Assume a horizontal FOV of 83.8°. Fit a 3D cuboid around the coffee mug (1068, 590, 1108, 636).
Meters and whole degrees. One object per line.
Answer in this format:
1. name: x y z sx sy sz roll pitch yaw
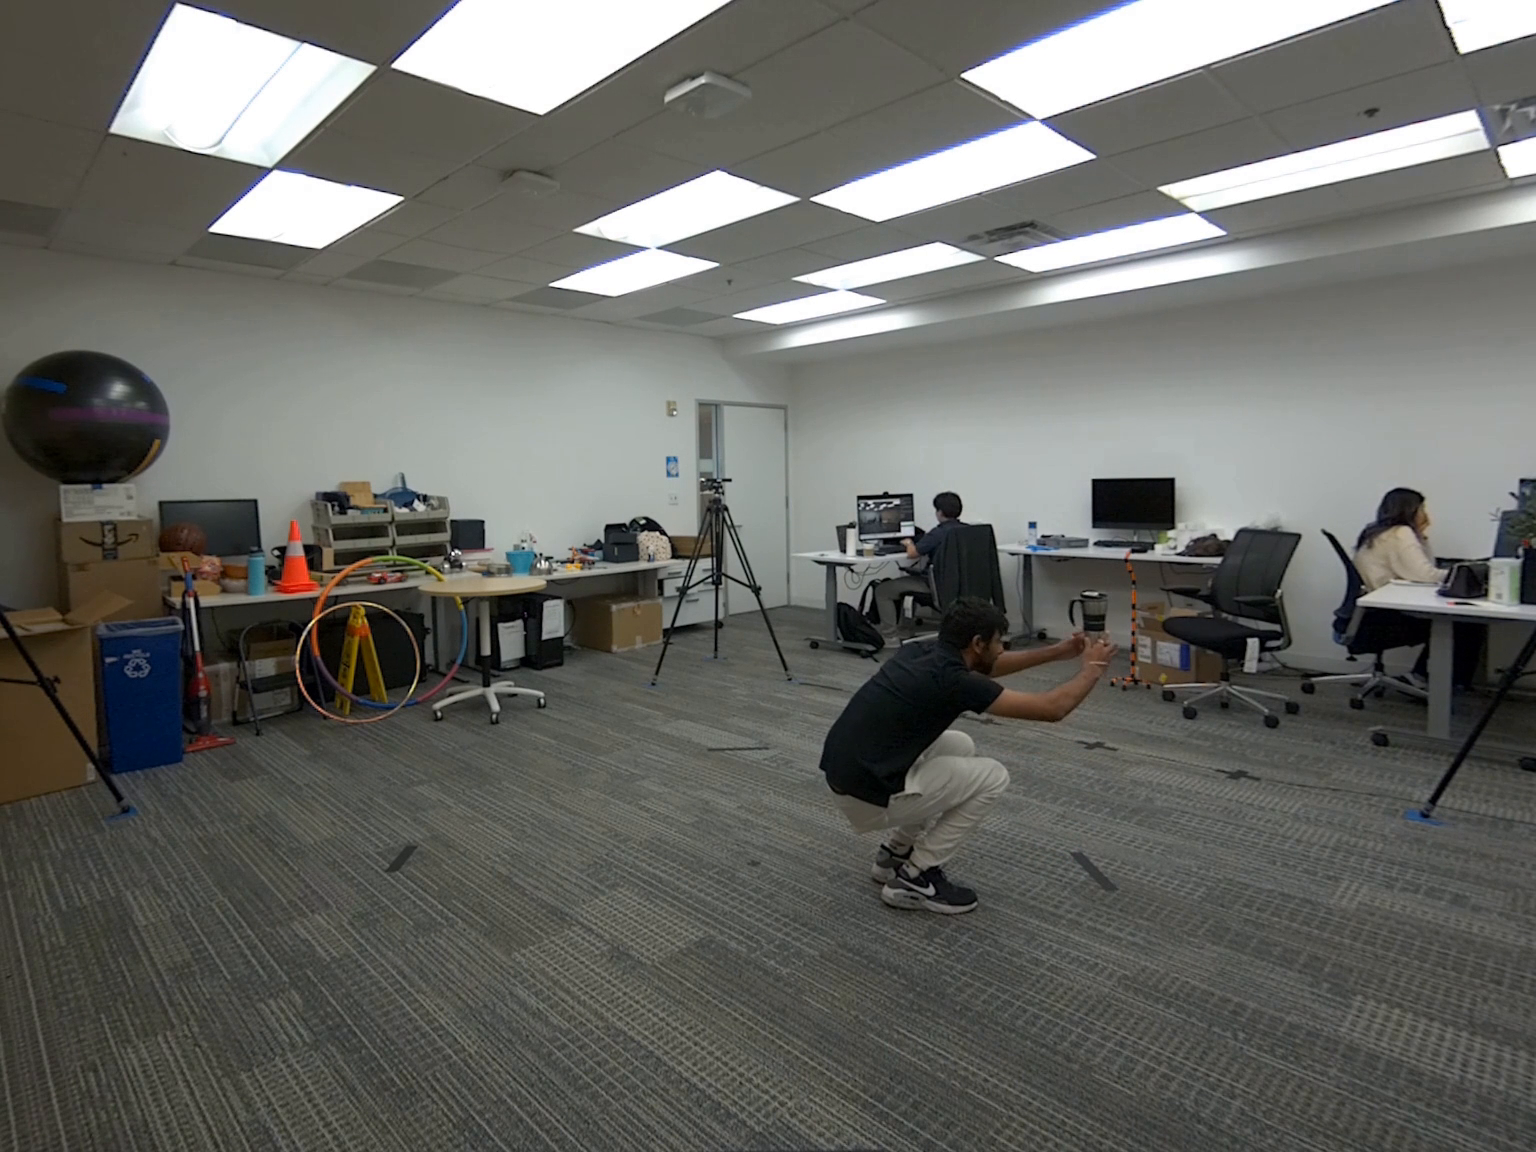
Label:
1. coffee mug: 1.105 0.159 2.950 0.086 0.201 0.126 -9 13 -35
